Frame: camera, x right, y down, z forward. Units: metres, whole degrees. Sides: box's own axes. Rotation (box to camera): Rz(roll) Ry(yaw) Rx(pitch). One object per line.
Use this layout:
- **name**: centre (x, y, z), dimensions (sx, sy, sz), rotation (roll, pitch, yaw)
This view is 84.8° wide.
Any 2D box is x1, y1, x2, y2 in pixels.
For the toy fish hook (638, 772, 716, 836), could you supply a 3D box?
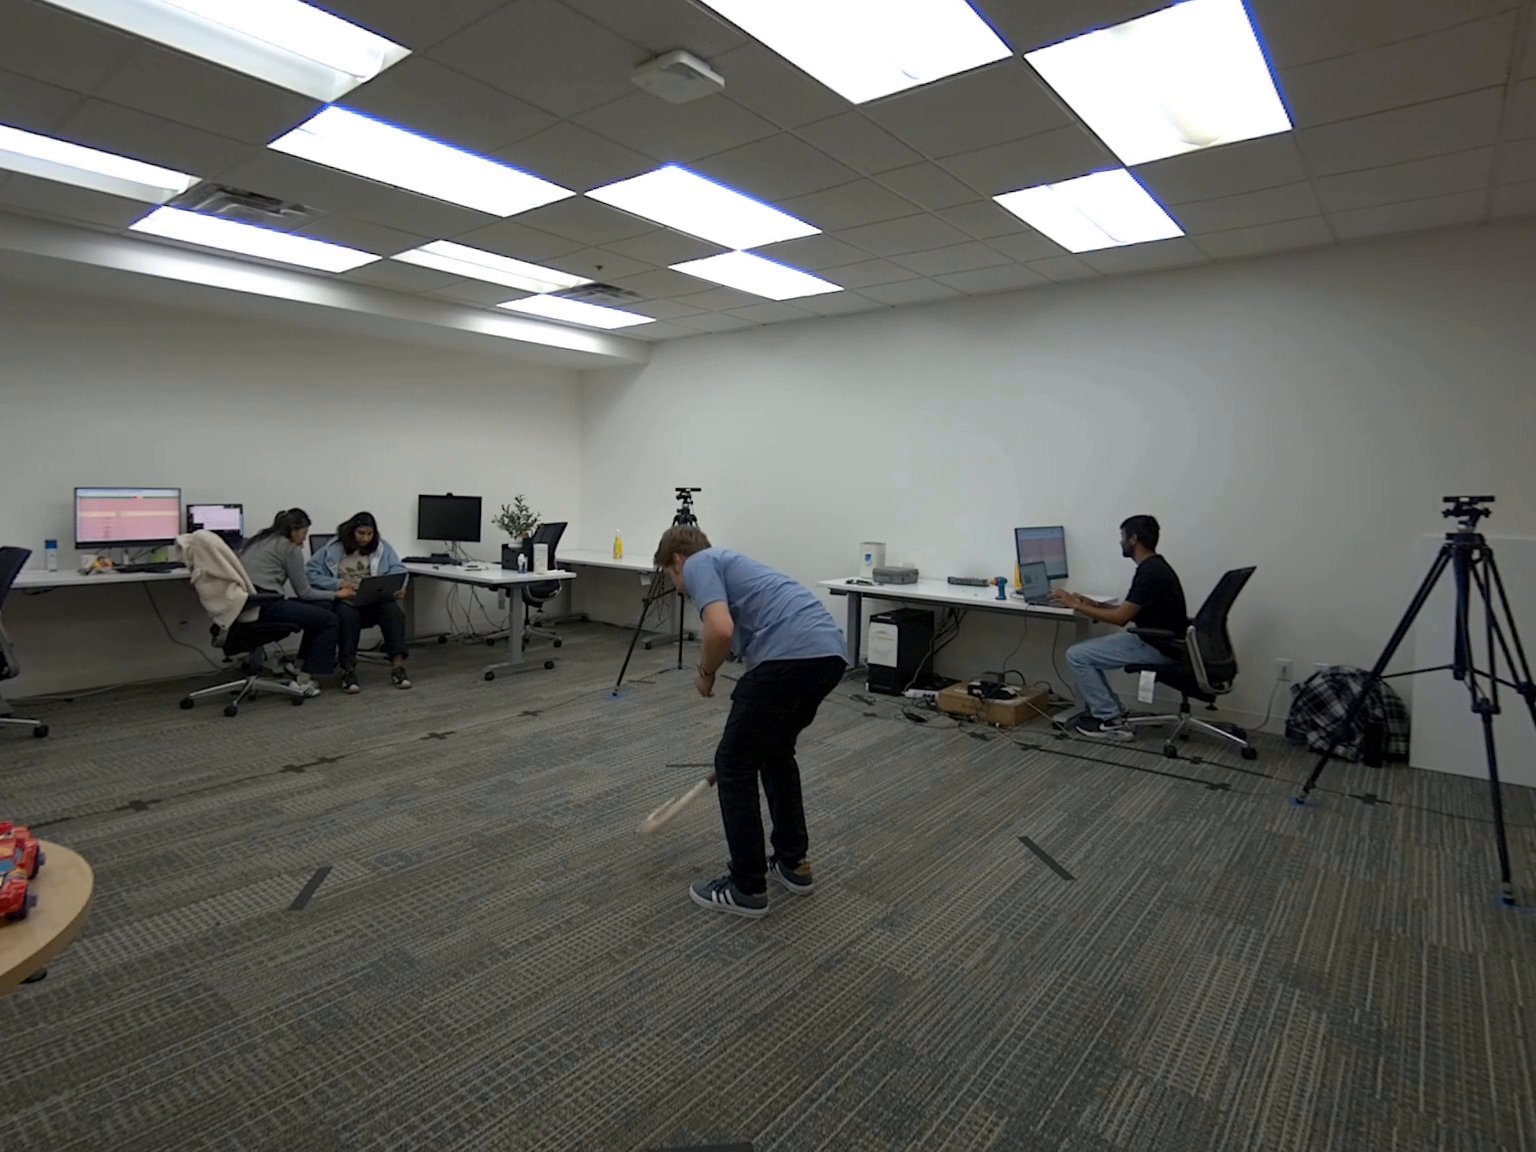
- **toy fish hook**: centre (-0.305, 0.796, 3.232), dimensions (0.502, 0.048, 0.228), rotation (-33, 7, -21)
